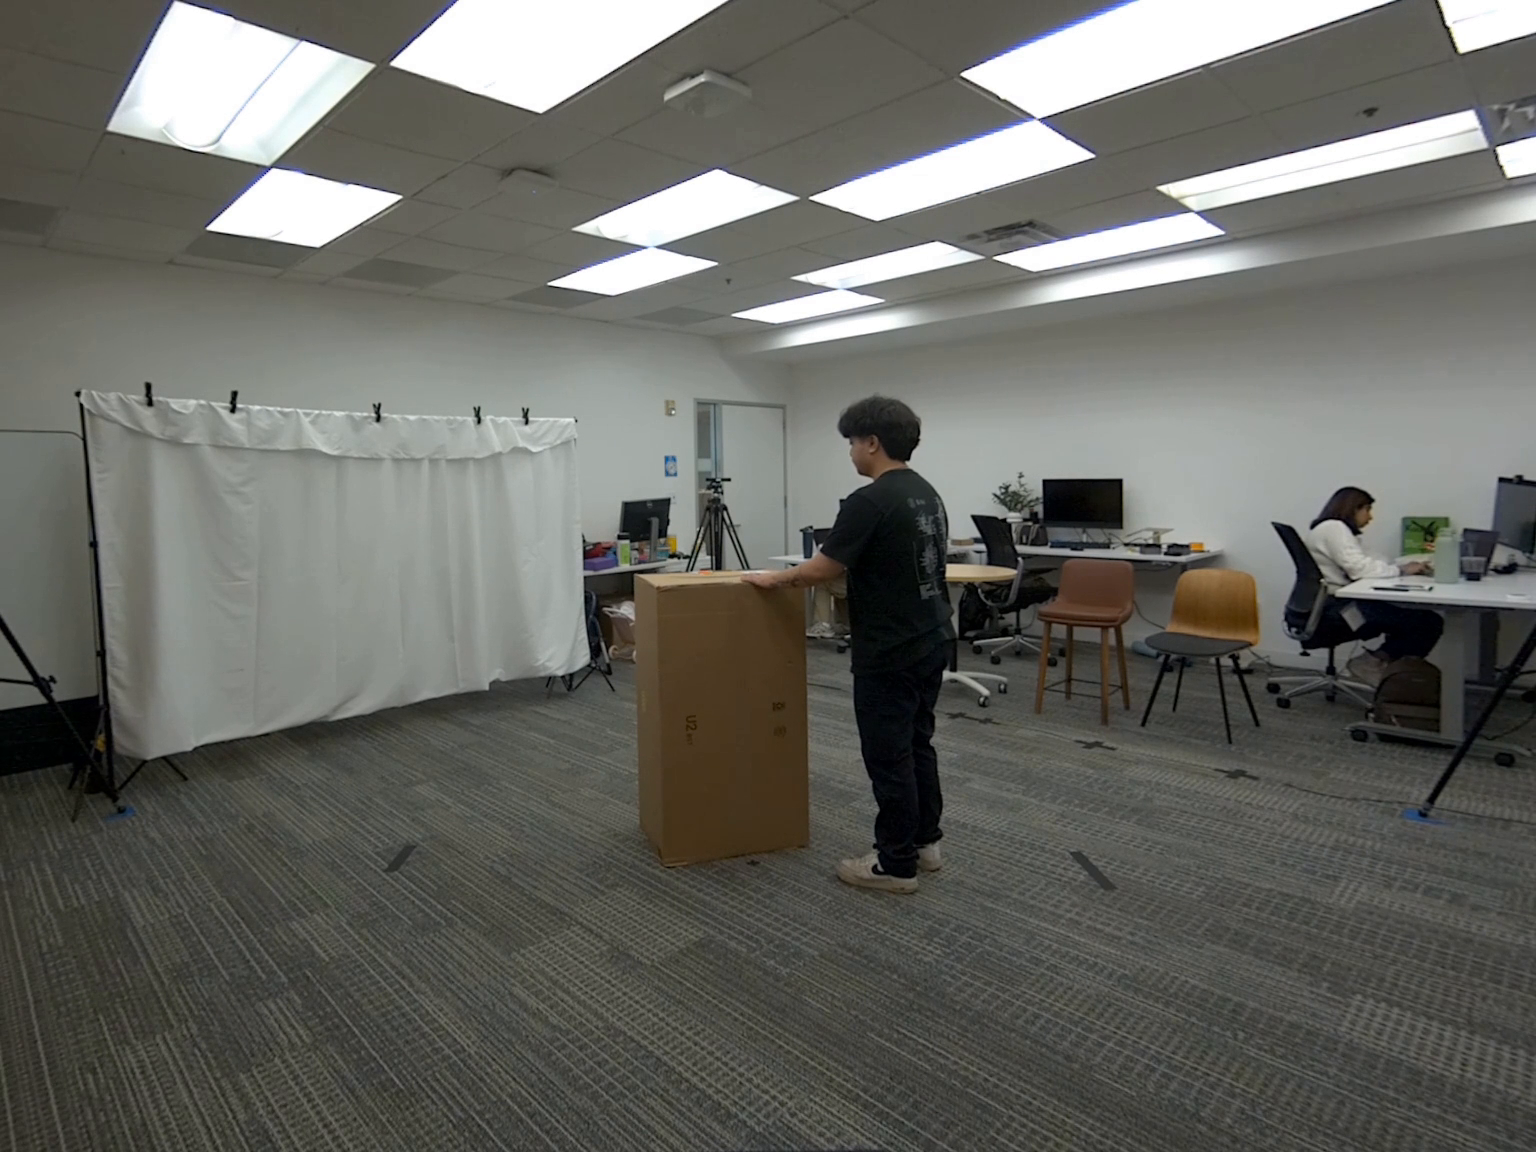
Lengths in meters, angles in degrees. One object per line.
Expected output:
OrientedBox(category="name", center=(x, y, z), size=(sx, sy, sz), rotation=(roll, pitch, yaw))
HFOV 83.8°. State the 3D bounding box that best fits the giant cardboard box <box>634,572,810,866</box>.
OrientedBox(category="giant cardboard box", center=(-0.190, 0.506, 3.333), size=(0.575, 1.024, 0.455), rotation=(-2, 4, -18))
